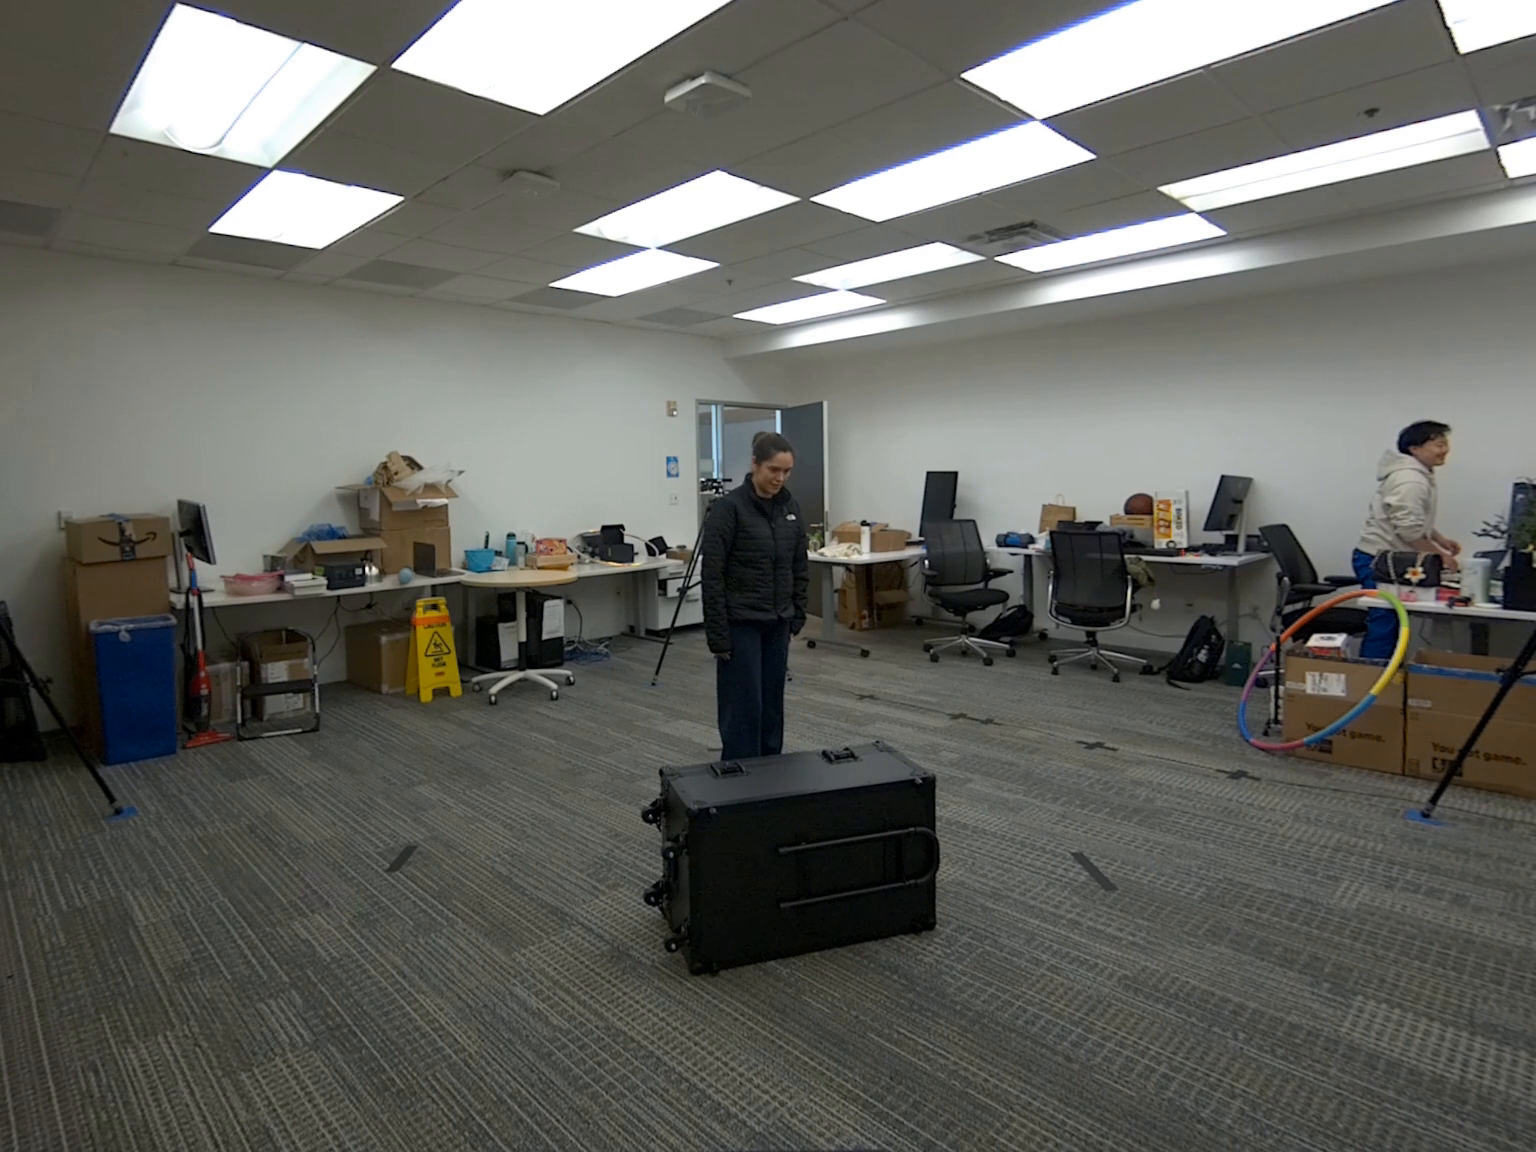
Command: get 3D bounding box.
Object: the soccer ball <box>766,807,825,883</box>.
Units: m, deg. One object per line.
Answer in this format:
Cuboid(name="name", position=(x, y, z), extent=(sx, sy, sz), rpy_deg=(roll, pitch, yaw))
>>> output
Cuboid(name="soccer ball", position=(0.094, 0.955, 3.060), extent=(0.187, 0.187, 0.188), rpy_deg=(-1, 5, -2))
